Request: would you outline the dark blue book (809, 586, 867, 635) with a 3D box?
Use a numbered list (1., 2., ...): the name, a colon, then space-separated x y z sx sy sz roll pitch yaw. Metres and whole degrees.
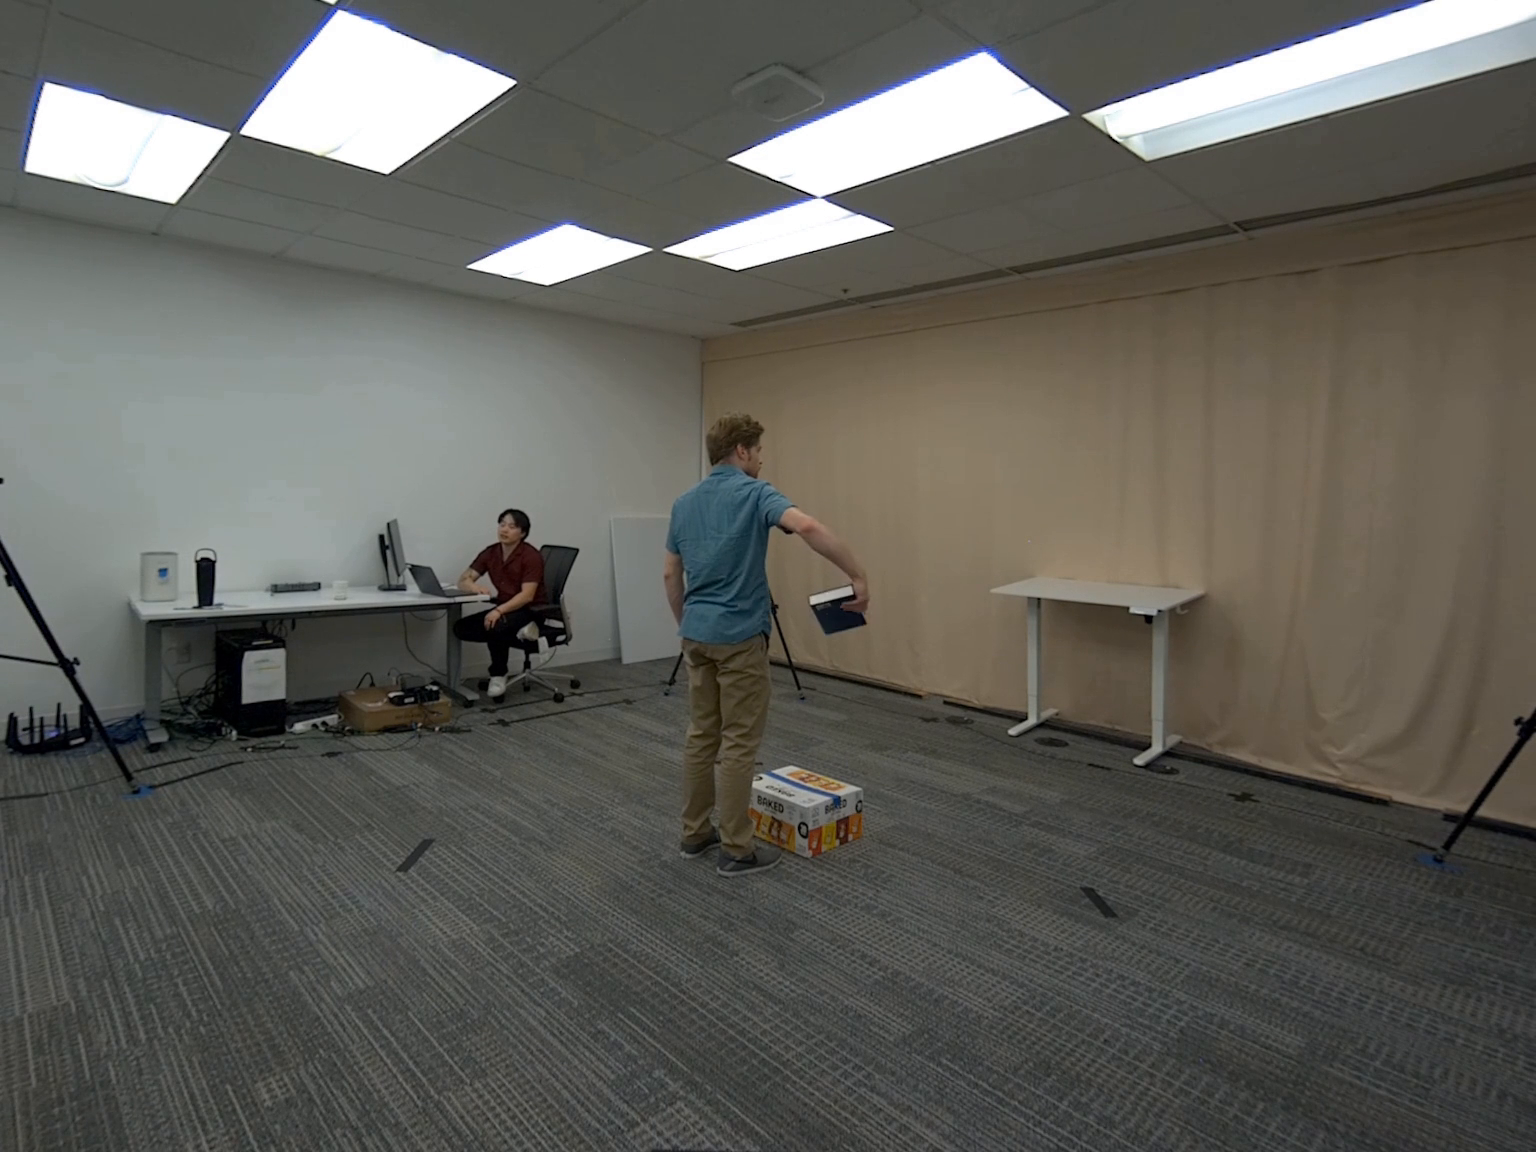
1. dark blue book: 0.240 0.118 3.025 0.164 0.046 0.238 -14 -33 12
